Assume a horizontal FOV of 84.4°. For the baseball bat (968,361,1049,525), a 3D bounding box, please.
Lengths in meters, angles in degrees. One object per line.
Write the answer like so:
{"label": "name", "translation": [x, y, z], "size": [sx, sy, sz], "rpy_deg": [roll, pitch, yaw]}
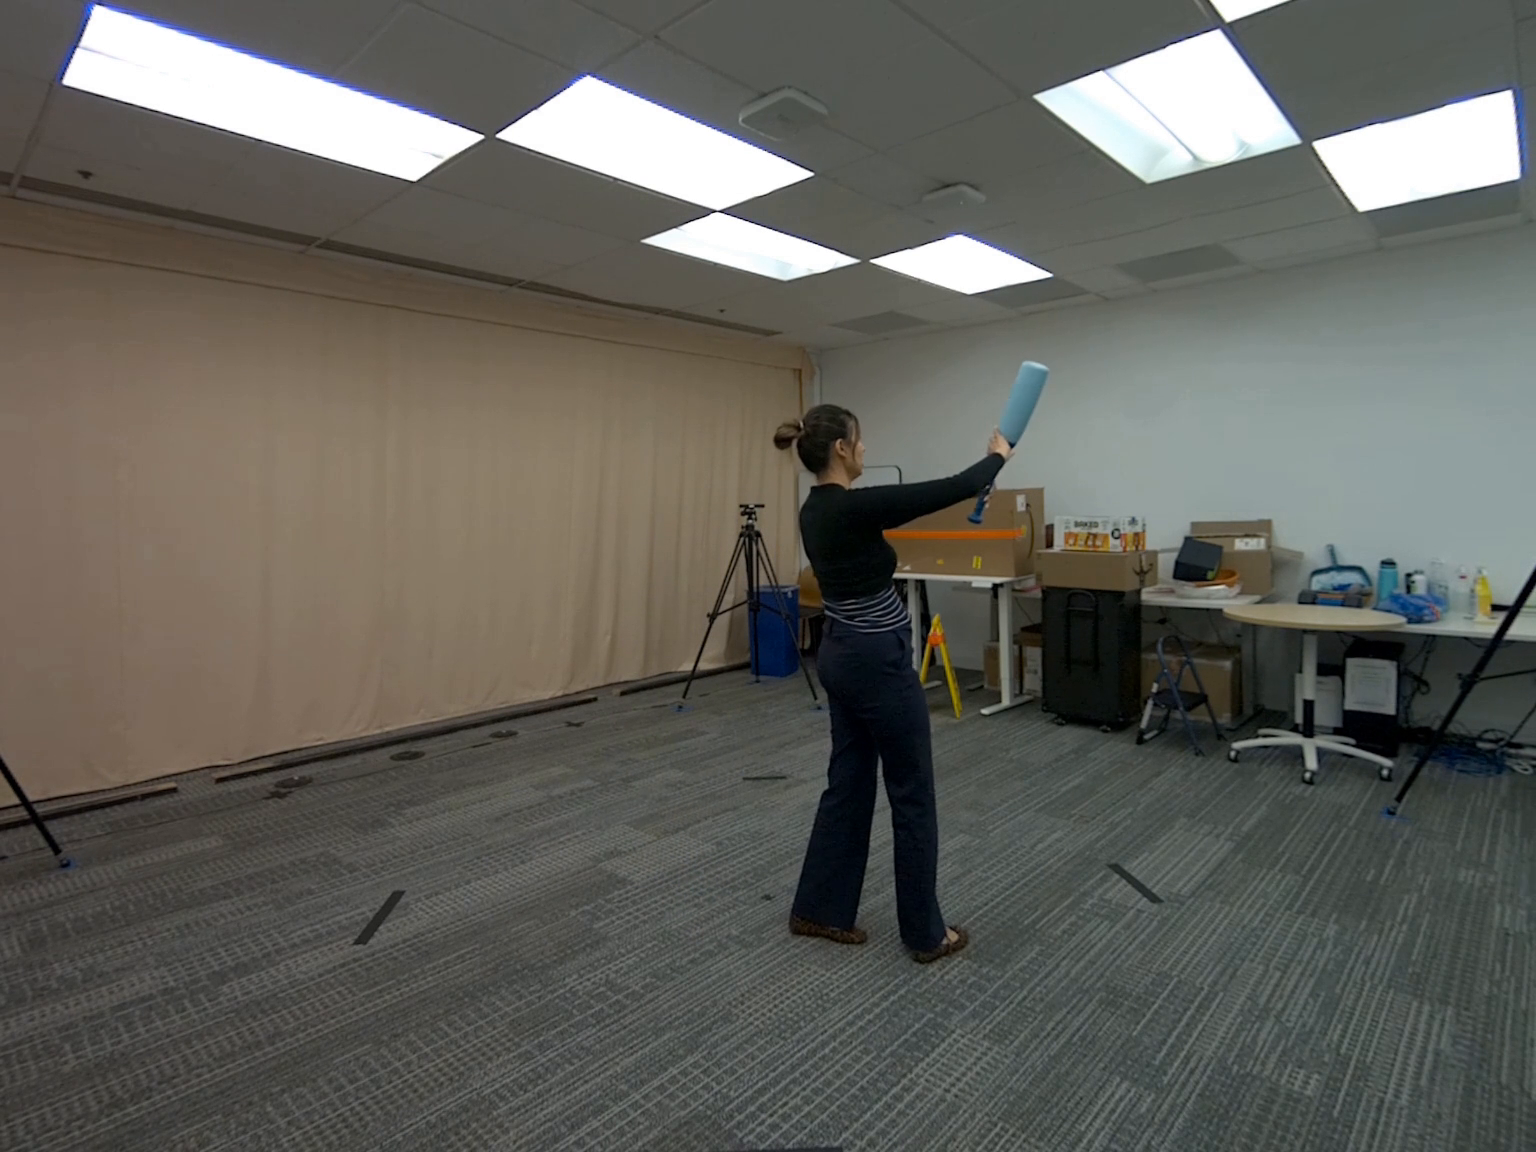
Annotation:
{"label": "baseball bat", "translation": [0.768, -0.421, 2.701], "size": [0.088, 0.539, 0.090], "rpy_deg": [14, 21, -7]}
